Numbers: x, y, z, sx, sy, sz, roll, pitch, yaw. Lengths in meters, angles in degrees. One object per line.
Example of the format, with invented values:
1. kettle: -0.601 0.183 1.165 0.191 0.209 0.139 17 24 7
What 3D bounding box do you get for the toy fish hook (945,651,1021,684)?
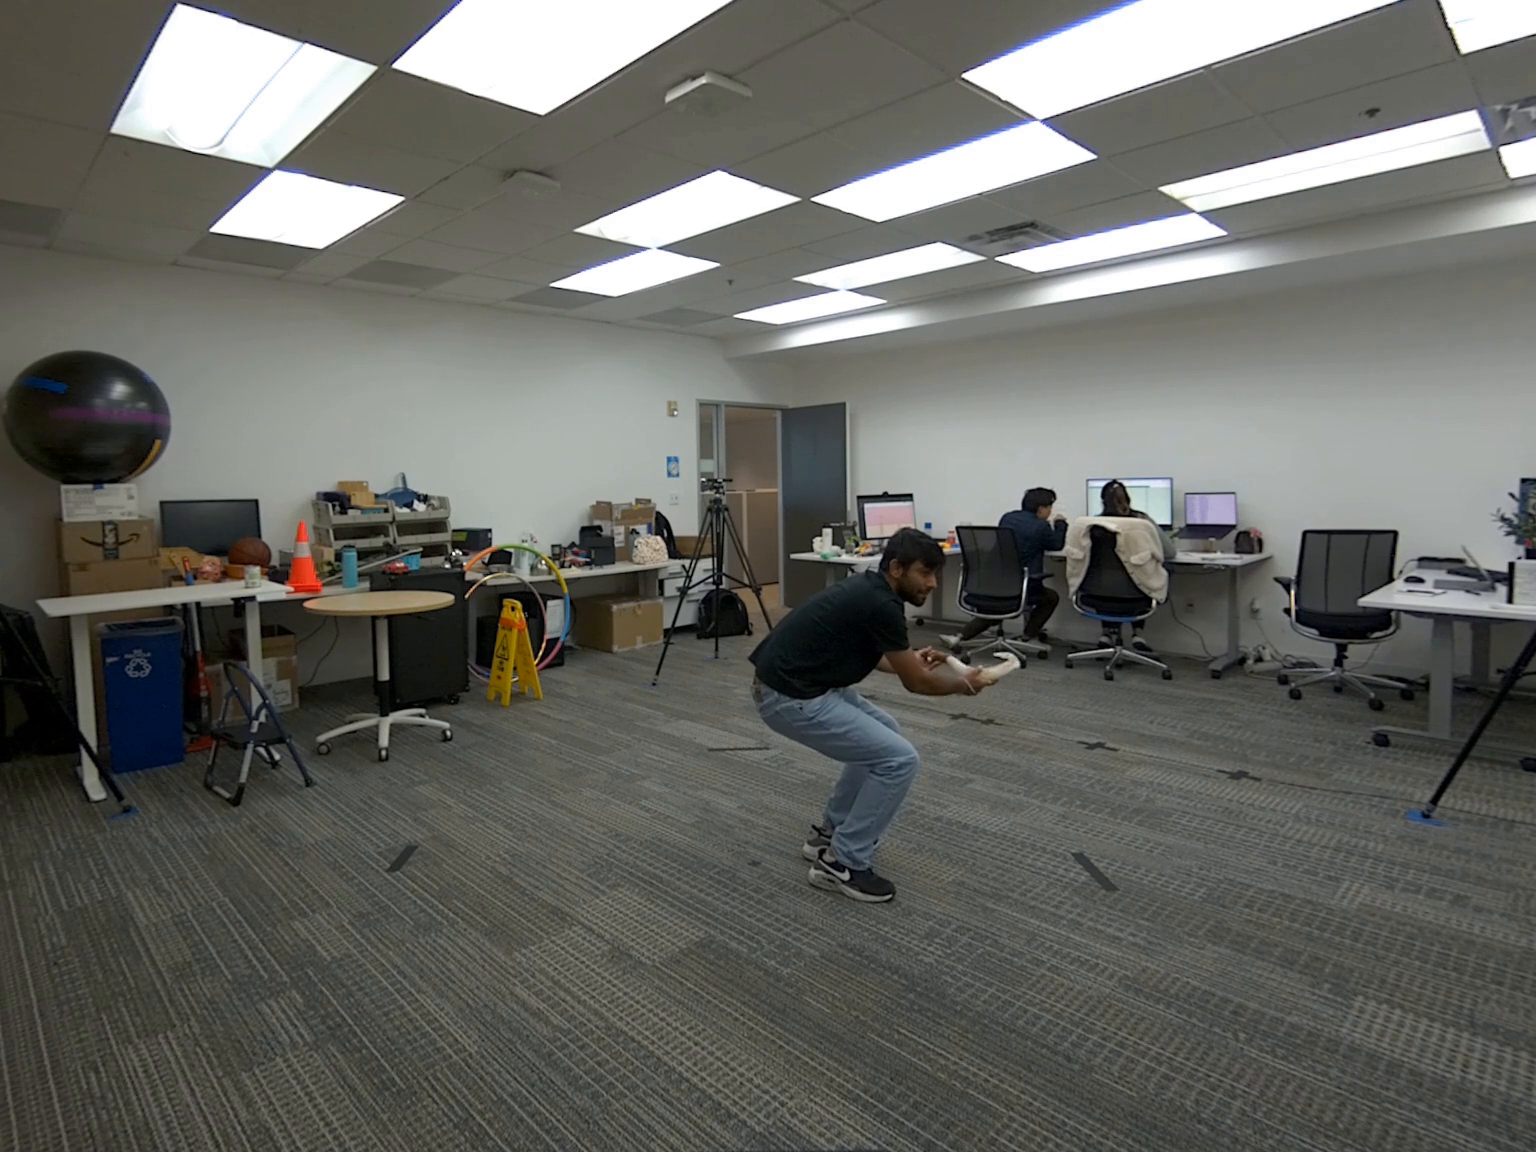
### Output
1. toy fish hook: 0.770 0.336 3.341 0.222 0.048 0.517 -14 11 -16
